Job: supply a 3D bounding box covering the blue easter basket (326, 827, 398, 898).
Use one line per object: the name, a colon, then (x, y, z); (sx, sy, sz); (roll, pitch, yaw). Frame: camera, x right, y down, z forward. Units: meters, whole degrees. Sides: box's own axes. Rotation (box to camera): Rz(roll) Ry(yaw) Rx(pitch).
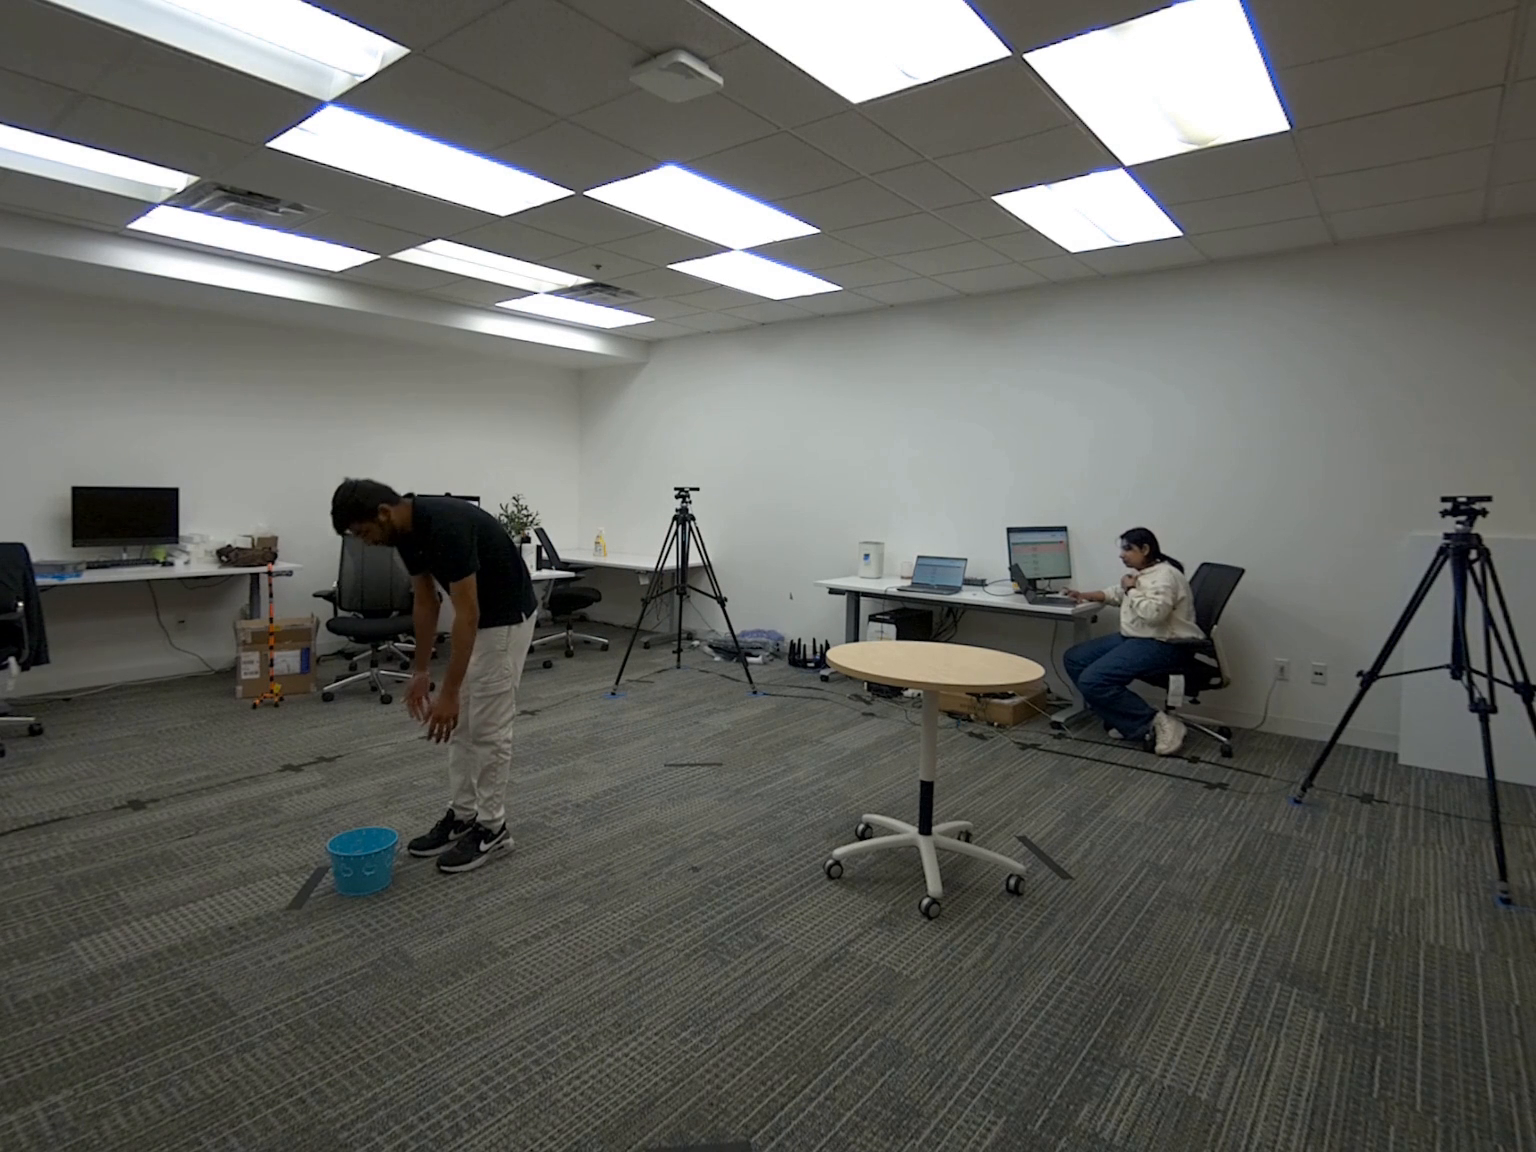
blue easter basket: (-1.419, 0.989, 2.961); (0.243, 0.155, 0.245); (2, 5, -2)
